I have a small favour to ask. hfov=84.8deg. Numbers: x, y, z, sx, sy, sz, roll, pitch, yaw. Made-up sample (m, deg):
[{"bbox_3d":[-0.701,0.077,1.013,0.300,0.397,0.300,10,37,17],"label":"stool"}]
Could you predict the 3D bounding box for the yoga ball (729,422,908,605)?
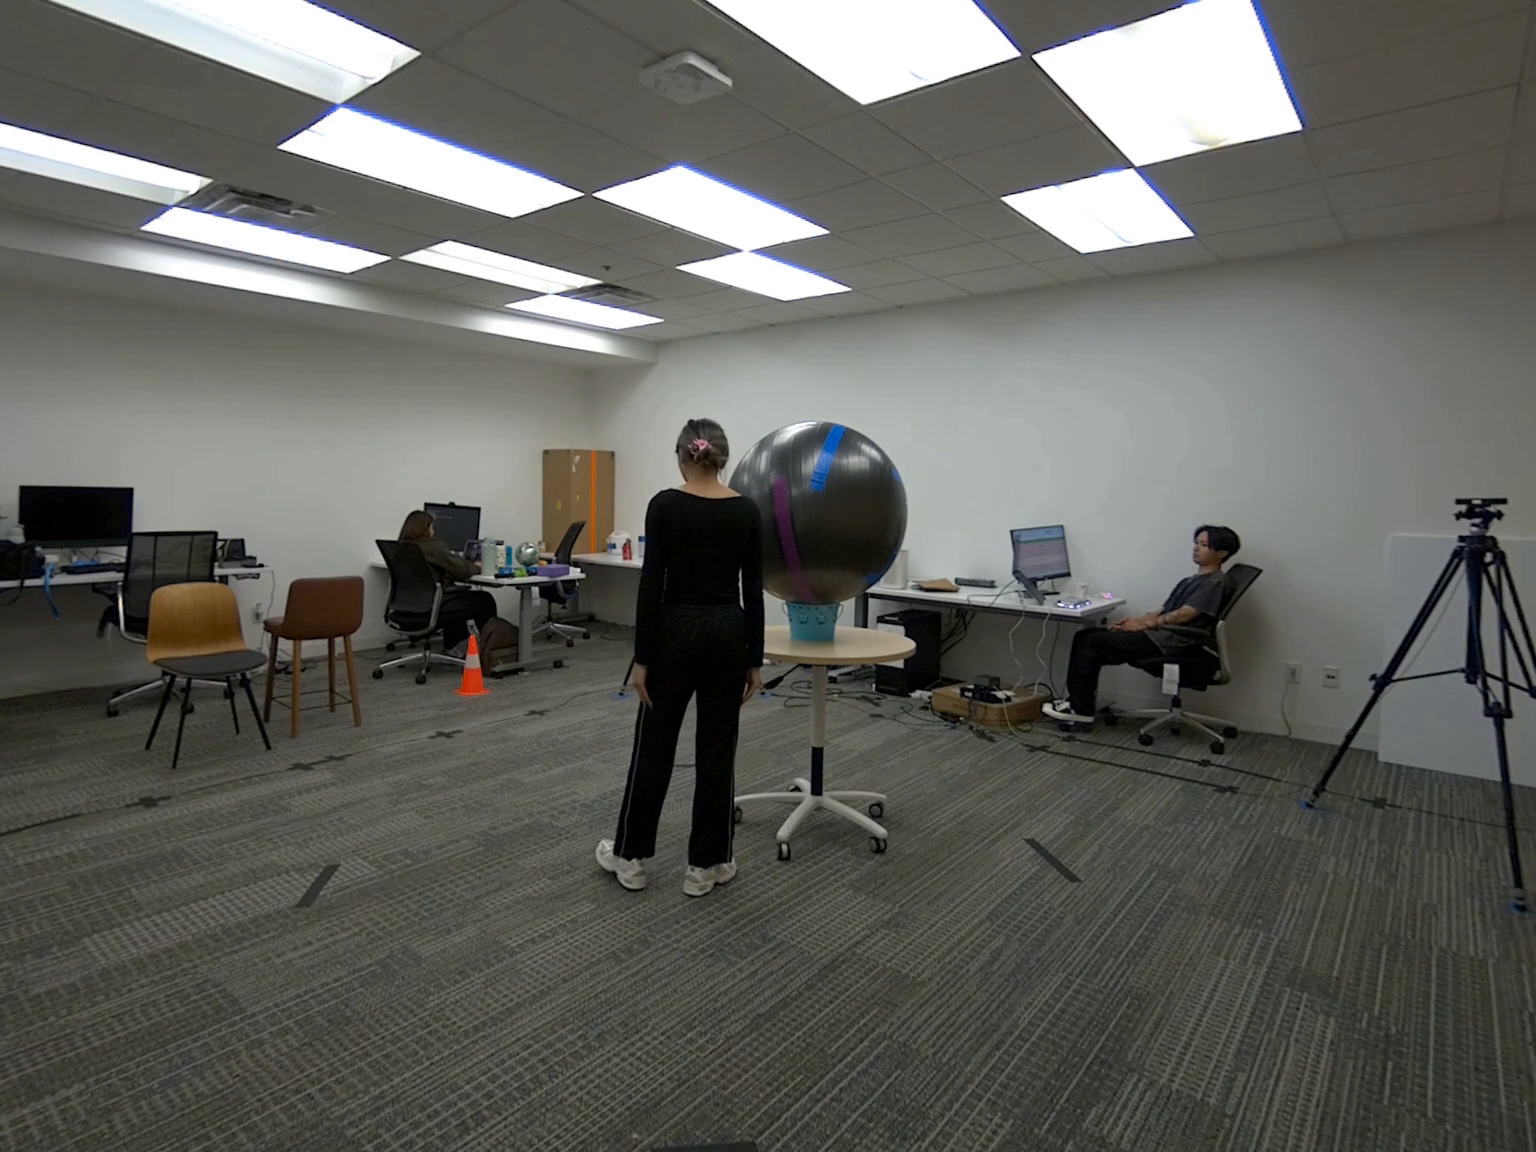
[{"bbox_3d":[0.185,-0.257,3.513,0.757,0.756,0.762,1,4,-2],"label":"yoga ball"}]
